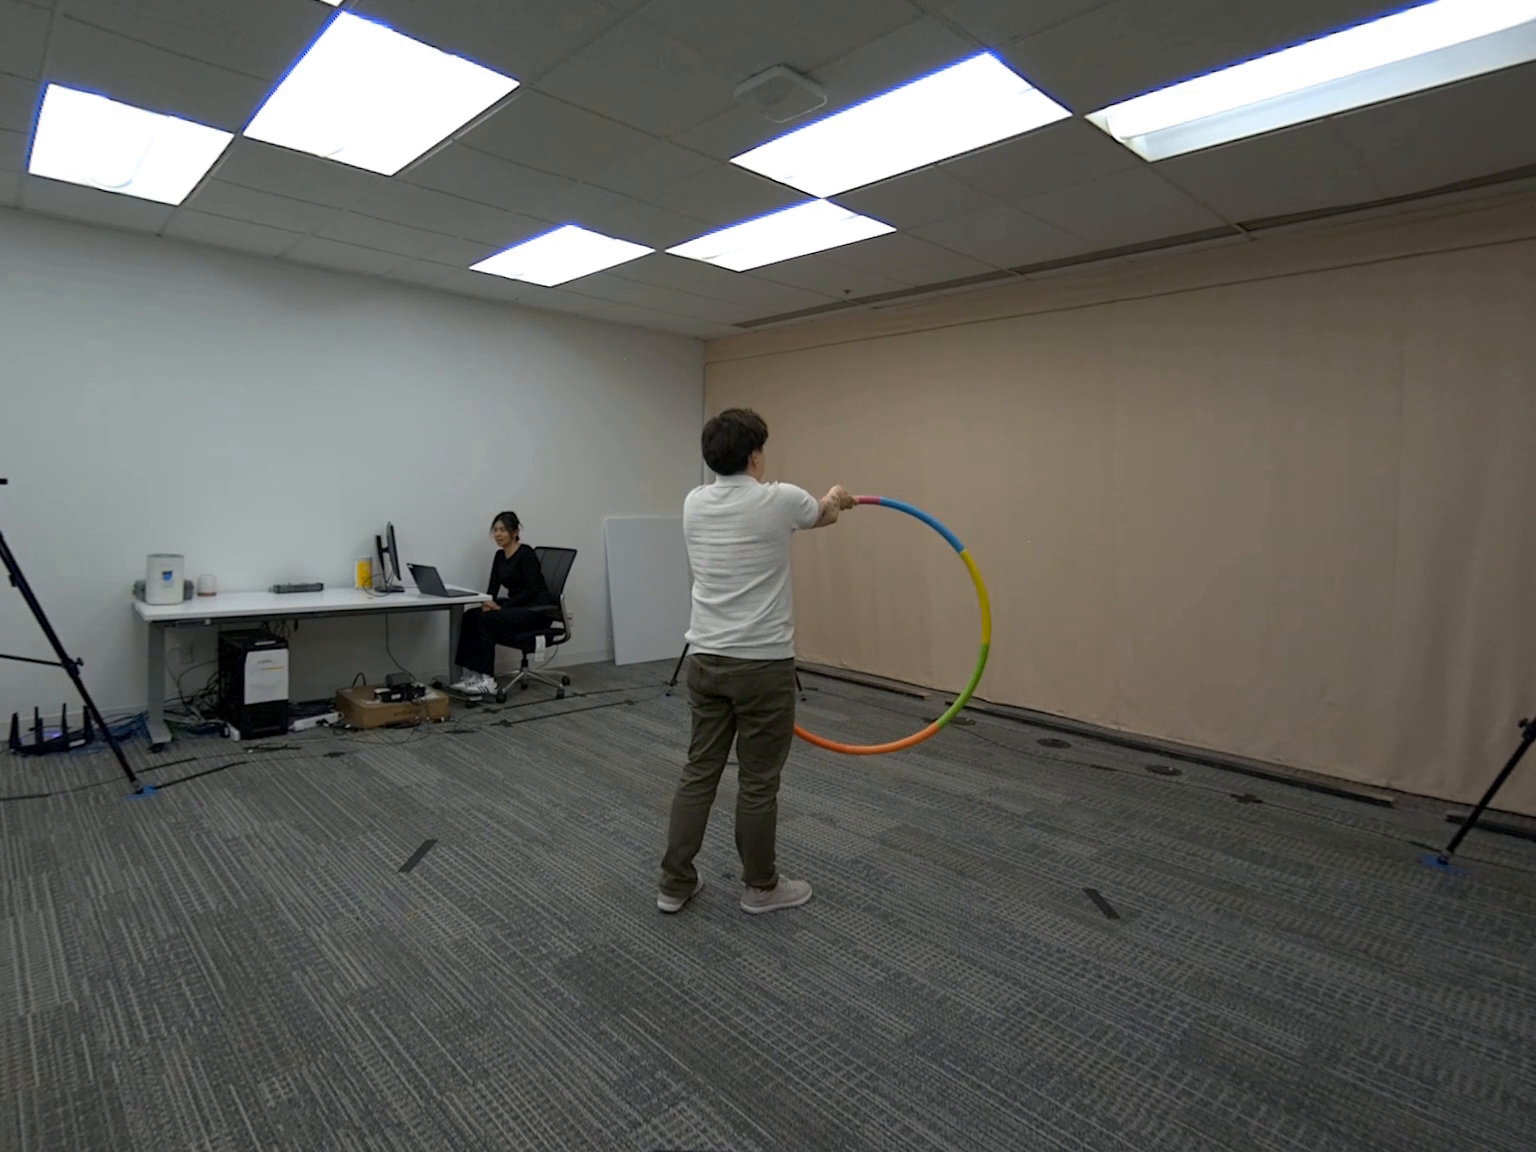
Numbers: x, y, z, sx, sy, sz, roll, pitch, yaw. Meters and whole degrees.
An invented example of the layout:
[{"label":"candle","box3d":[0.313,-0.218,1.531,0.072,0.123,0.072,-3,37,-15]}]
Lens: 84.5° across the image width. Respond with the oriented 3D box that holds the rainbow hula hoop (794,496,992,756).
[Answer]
[{"label":"rainbow hula hoop","box3d":[0.352,0.192,3.245,0.982,0.981,0.035,2,-3,4]}]
